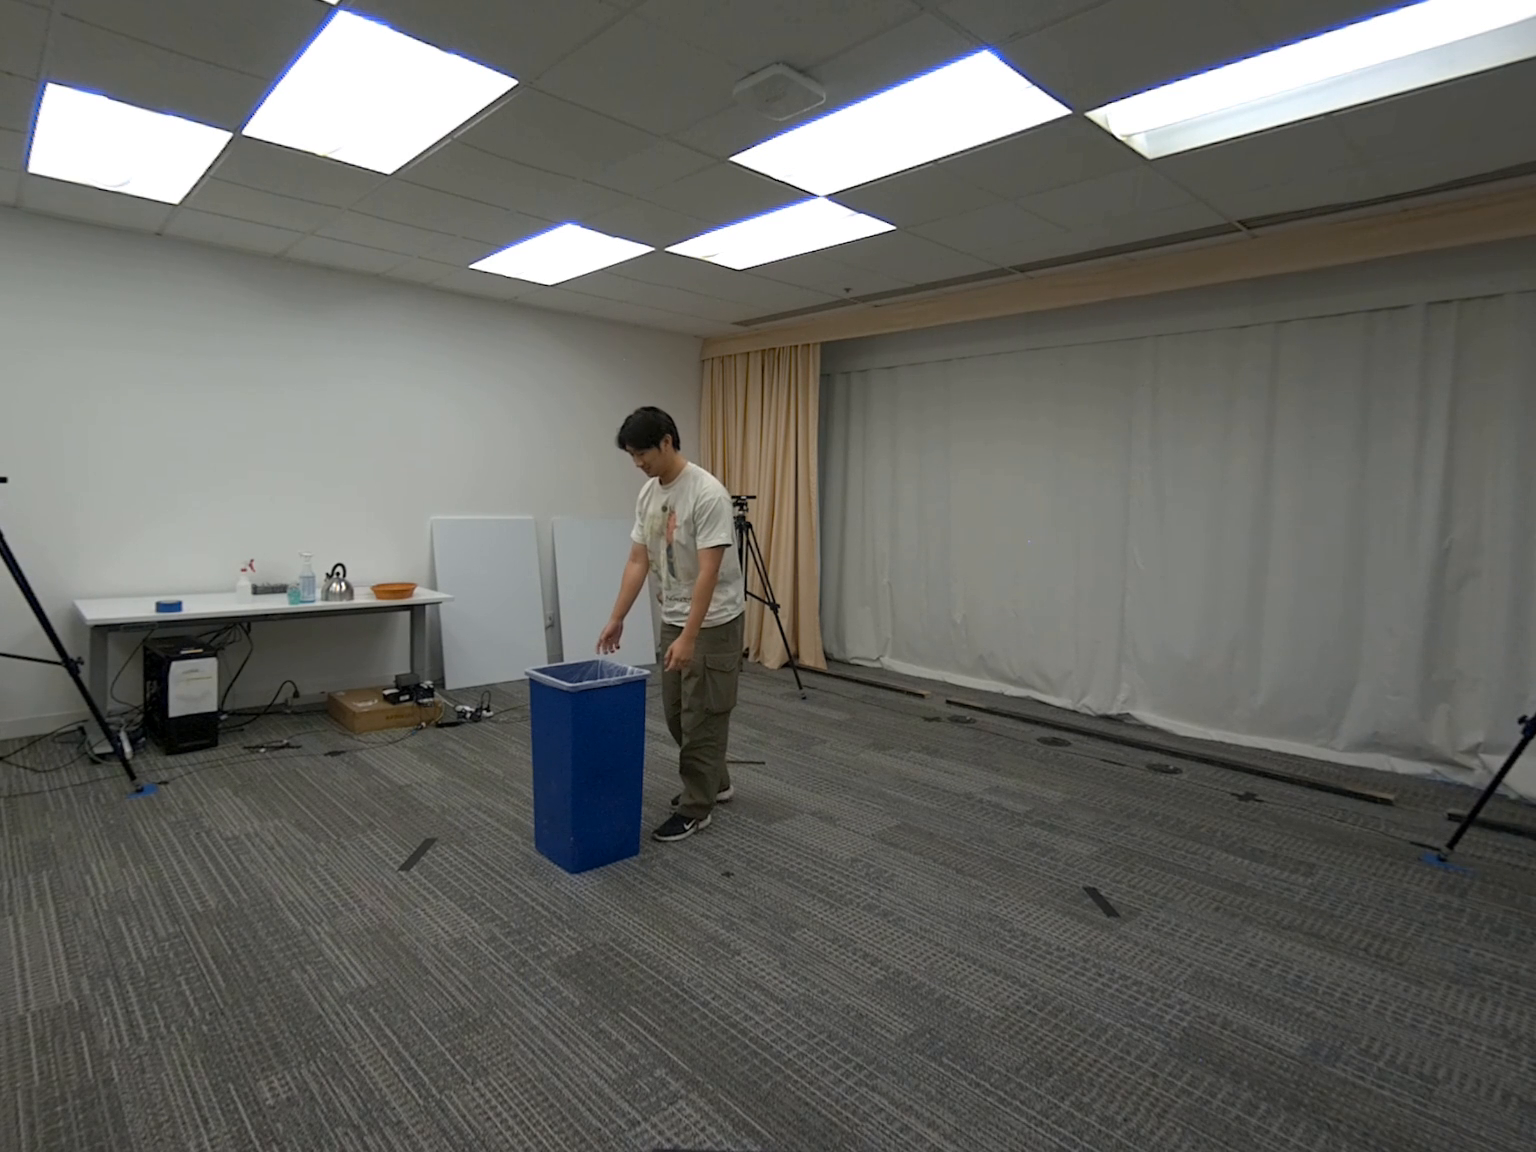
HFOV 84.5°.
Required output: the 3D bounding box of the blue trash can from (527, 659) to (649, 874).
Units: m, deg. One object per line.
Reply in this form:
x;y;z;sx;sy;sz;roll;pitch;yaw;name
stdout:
-0.708;0.720;3.249;0.365;0.712;0.388;-1;4;-42;blue trash can
